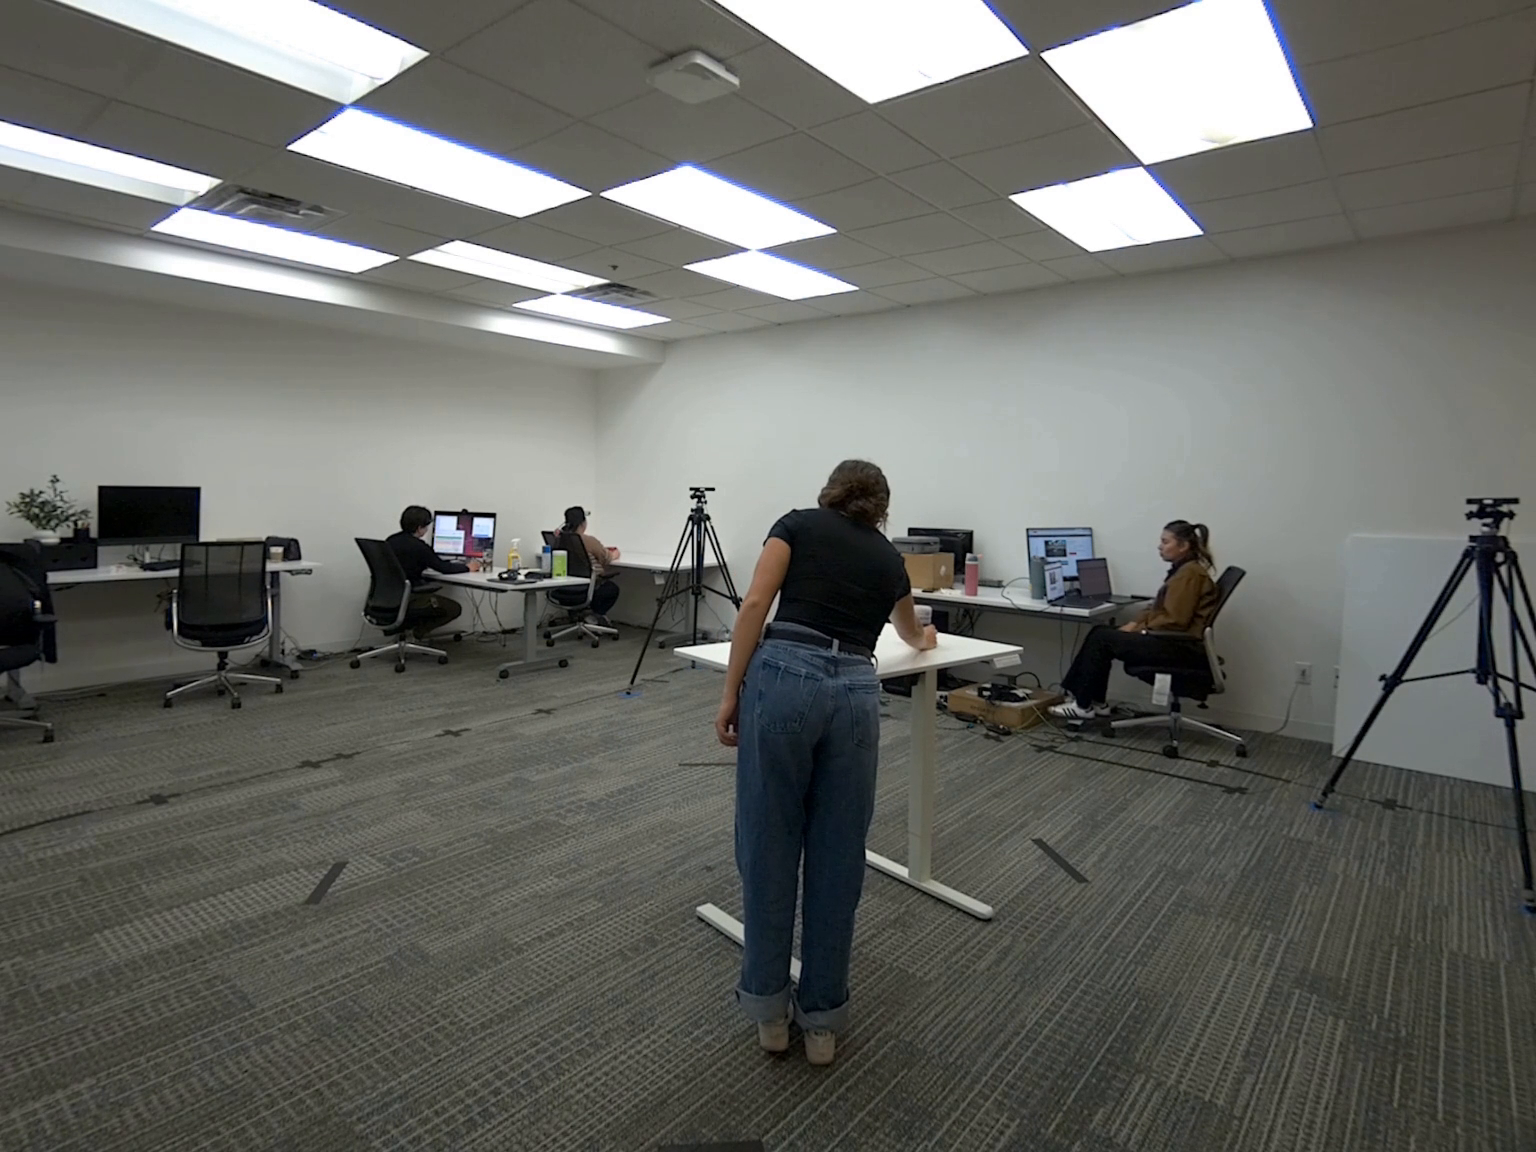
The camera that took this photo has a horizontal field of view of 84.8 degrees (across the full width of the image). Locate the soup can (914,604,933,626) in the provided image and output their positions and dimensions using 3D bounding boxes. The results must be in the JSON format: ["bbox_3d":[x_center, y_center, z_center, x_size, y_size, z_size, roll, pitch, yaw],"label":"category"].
[{"bbox_3d":[0.509,0.153,2.866,0.067,0.121,0.067,2,4,-2],"label":"soup can"}]
